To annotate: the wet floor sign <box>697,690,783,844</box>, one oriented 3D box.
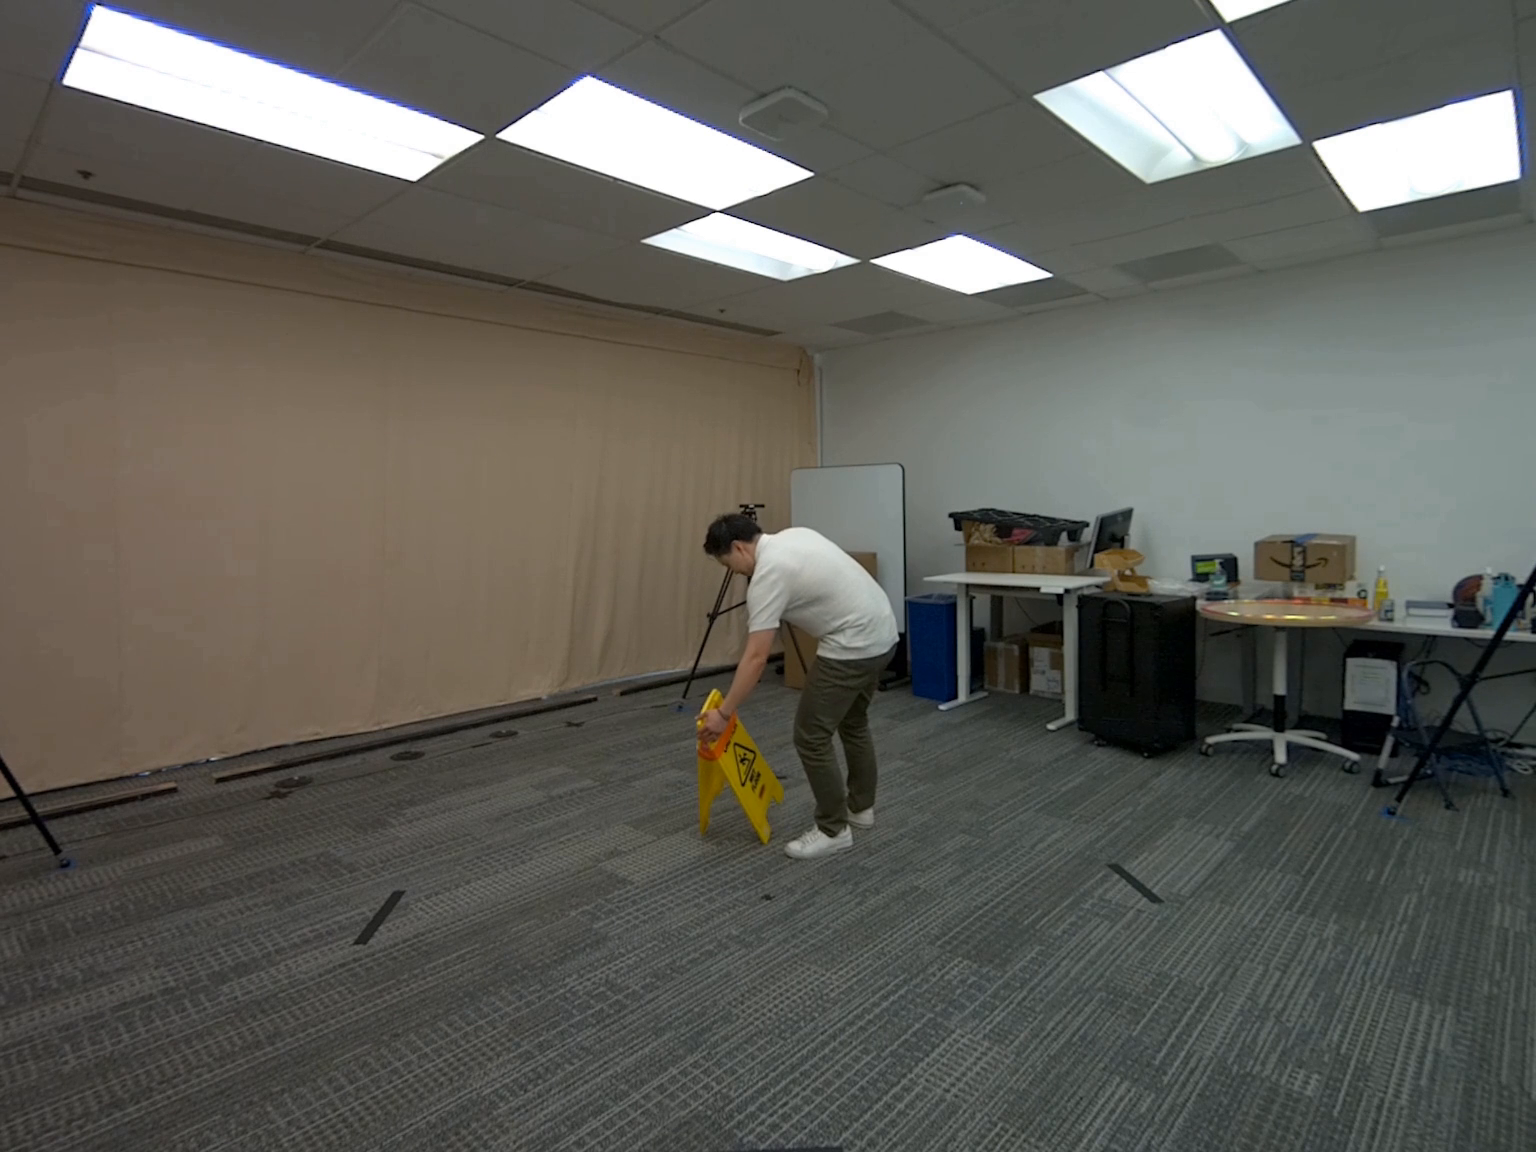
[{"bbox_3d":[-0.169,0.767,3.445,0.296,0.631,0.283,-1,33,20],"label":"wet floor sign"}]
